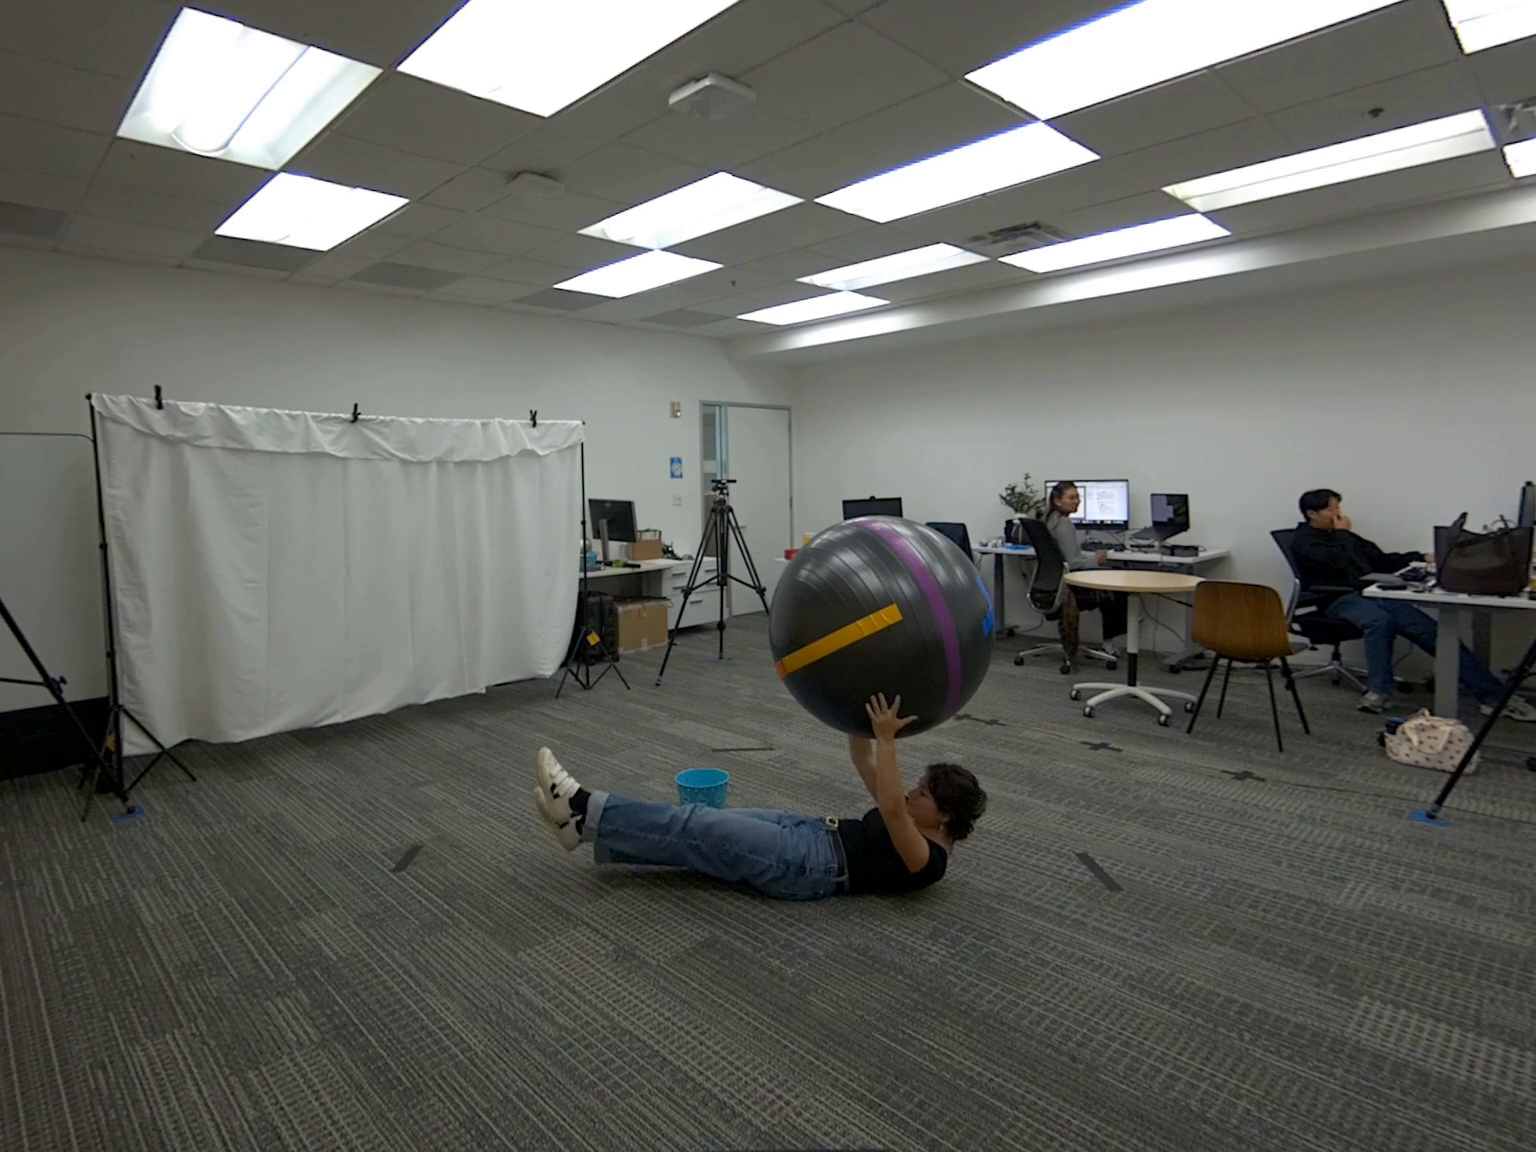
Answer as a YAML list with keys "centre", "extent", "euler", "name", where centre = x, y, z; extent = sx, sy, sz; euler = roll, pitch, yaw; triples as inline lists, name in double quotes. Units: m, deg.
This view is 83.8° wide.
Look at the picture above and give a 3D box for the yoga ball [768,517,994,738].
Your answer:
- centre: [0.376, 0.177, 2.930]
  extent: [0.757, 0.755, 0.762]
  euler: [-1, 5, -2]
  name: "yoga ball"
